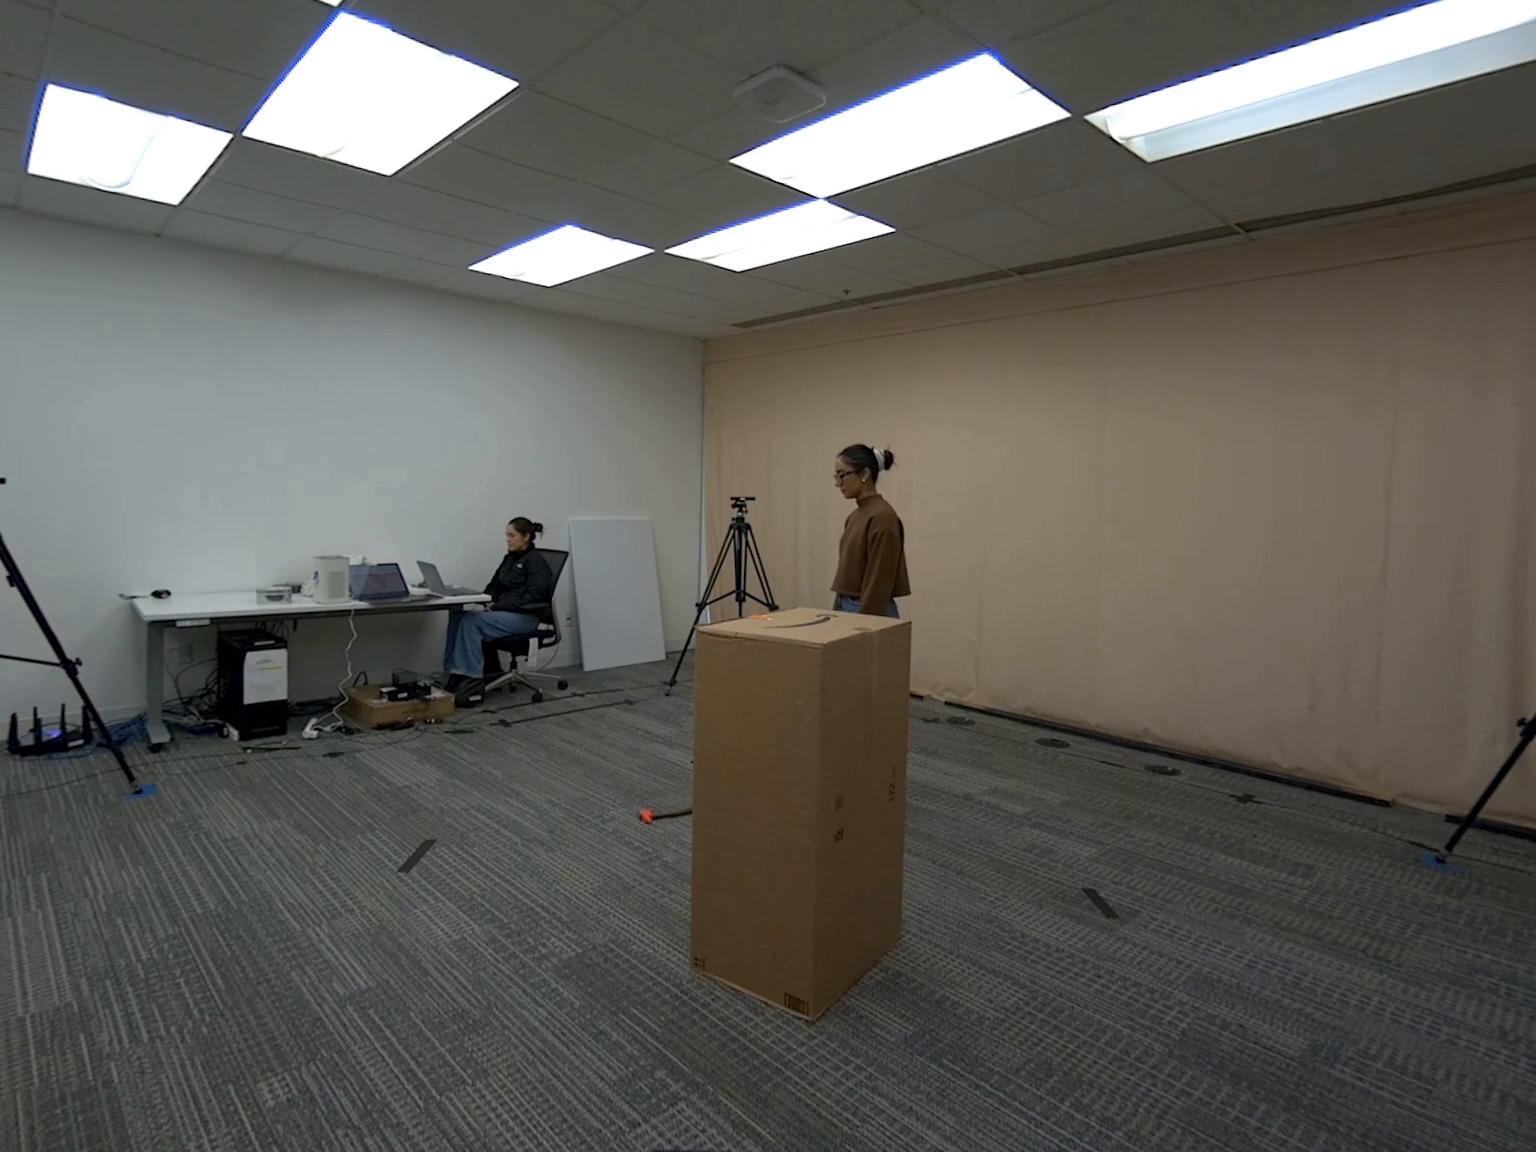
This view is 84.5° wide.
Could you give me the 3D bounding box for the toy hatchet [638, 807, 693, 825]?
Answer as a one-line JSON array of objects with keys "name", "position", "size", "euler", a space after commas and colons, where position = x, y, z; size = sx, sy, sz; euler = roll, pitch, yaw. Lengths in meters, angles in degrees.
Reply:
[{"name": "toy hatchet", "position": [-0.463, 1.039, 3.700], "size": [0.264, 0.029, 0.134], "euler": [-1, 3, -42]}]
